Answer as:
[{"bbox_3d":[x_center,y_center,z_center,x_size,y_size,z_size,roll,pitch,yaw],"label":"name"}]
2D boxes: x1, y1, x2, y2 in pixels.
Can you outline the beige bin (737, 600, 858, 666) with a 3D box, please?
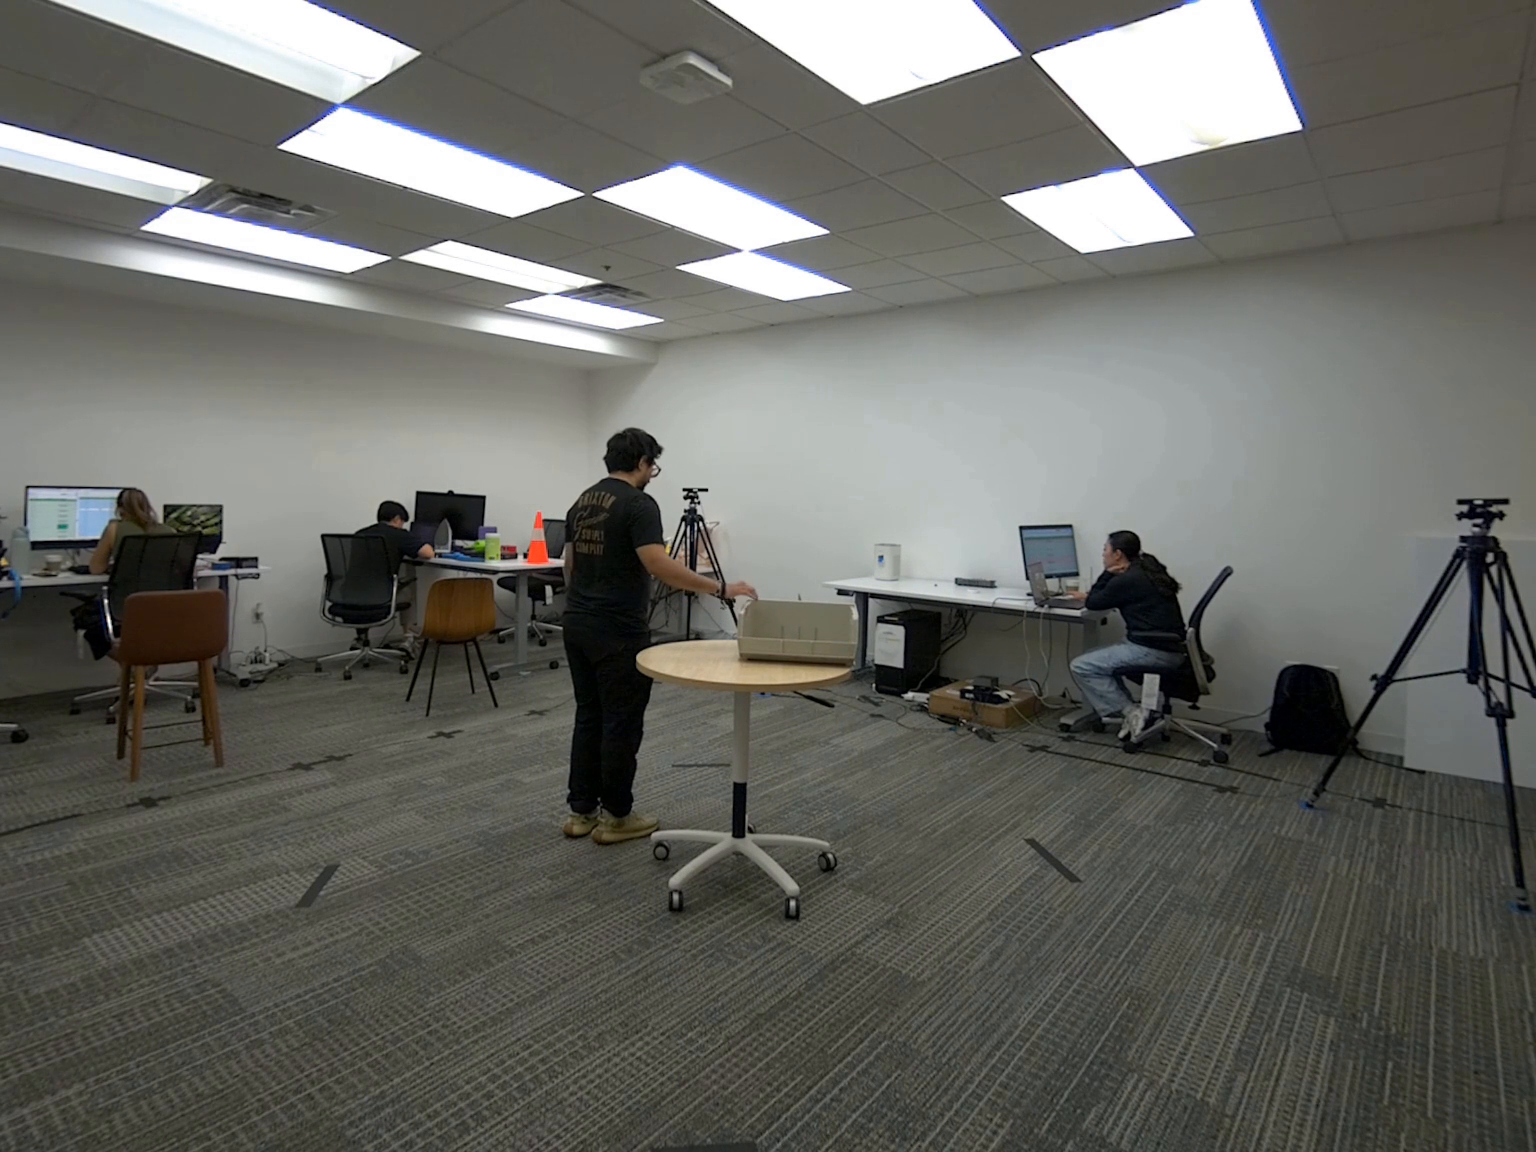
[{"bbox_3d":[0.108,0.209,3.120,0.425,0.188,0.376,2,5,6],"label":"beige bin"}]
